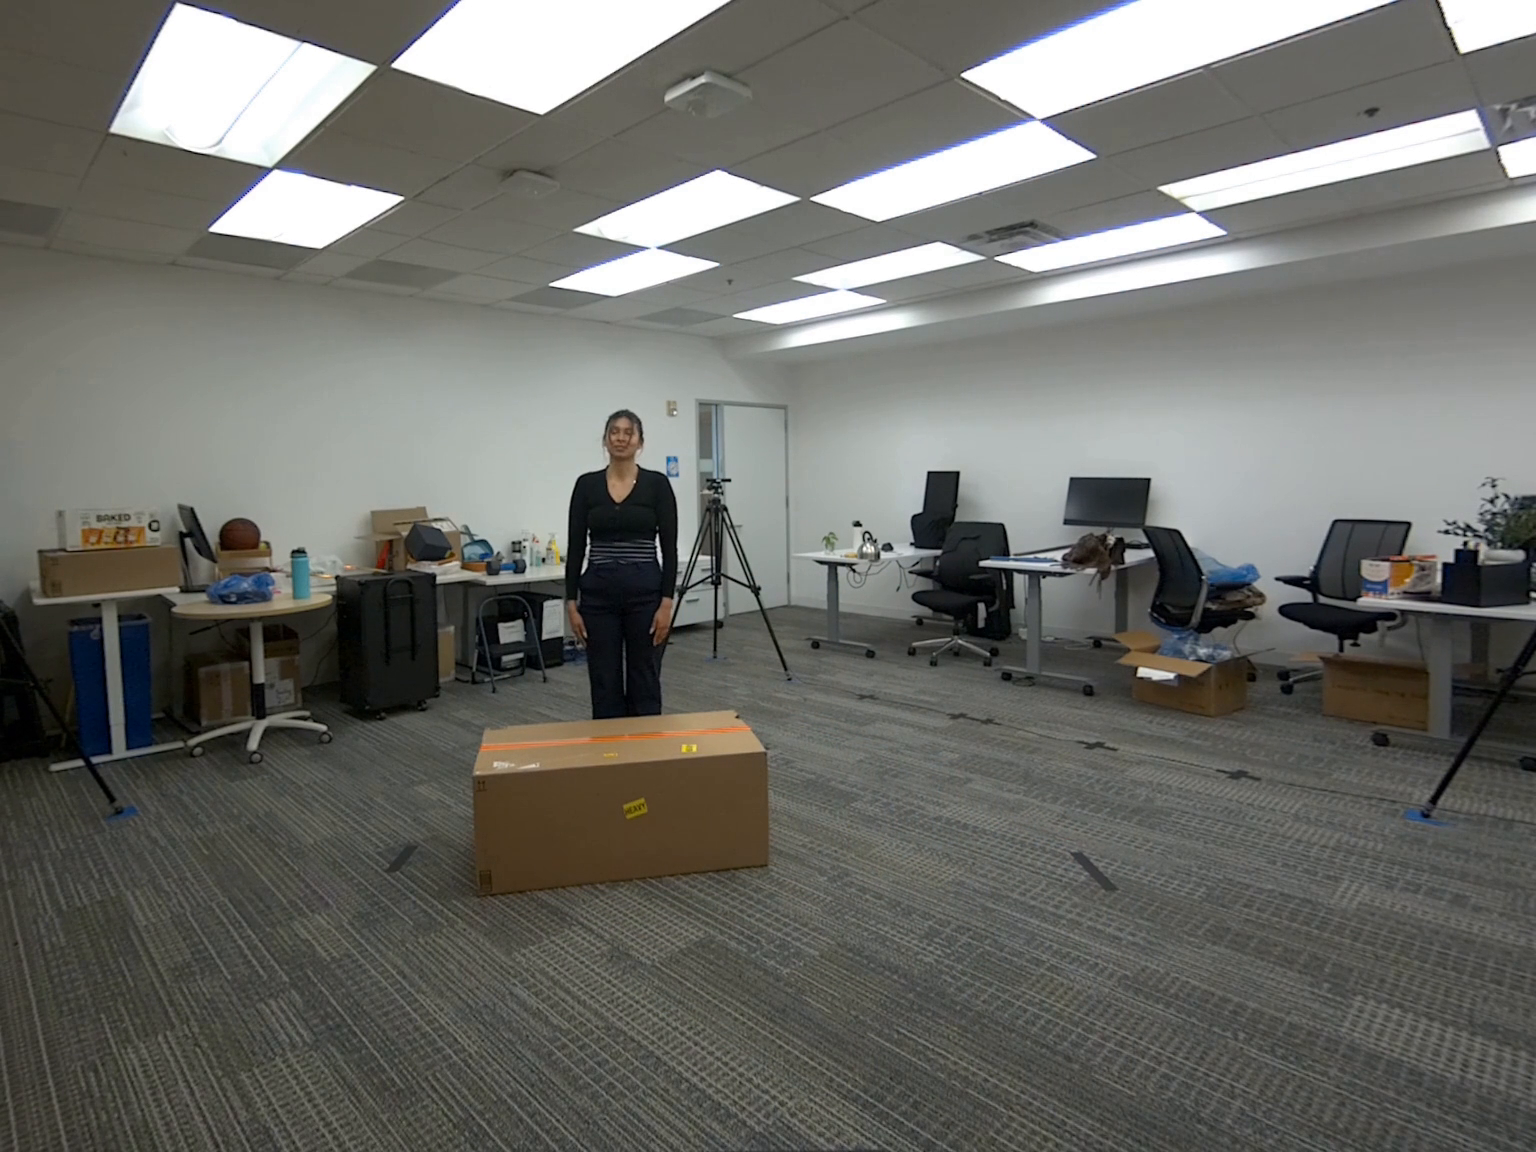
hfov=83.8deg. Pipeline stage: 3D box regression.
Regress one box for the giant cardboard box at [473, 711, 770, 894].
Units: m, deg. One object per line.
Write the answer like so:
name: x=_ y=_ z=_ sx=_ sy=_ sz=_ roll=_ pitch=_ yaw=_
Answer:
giant cardboard box: x=-0.563 y=0.822 z=3.253 sx=1.015 sy=0.424 sz=0.587 roll=-2 pitch=6 yaw=-12
